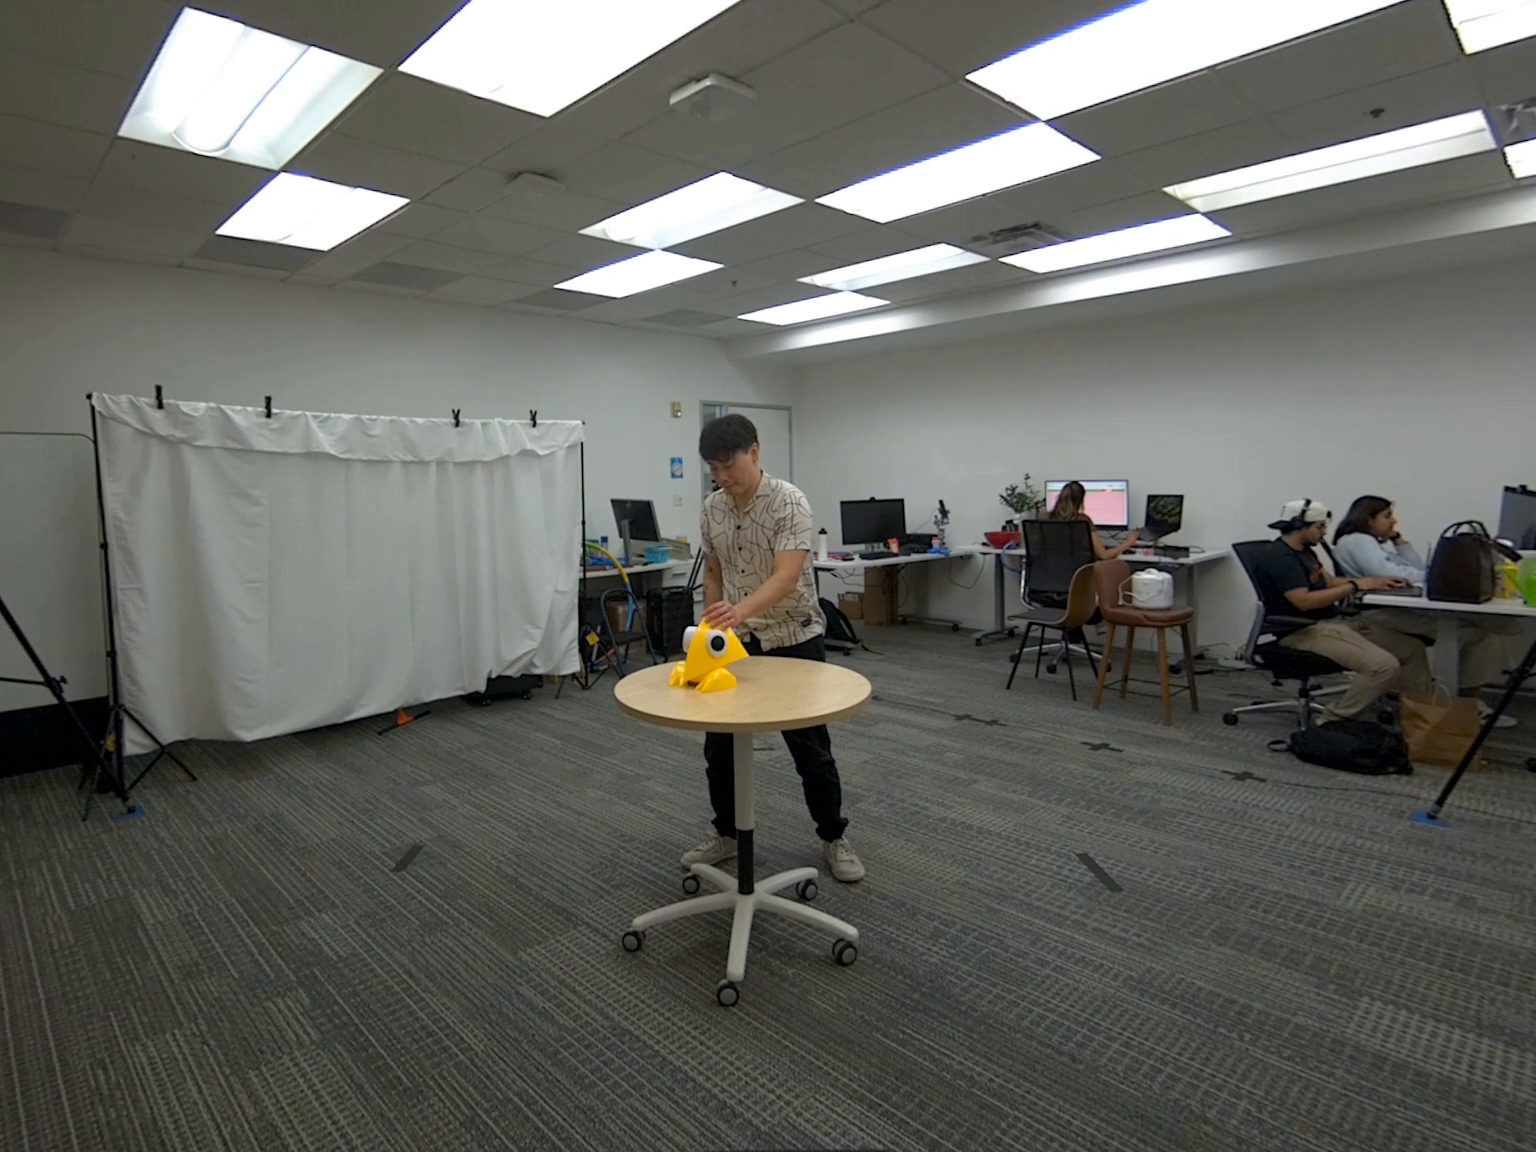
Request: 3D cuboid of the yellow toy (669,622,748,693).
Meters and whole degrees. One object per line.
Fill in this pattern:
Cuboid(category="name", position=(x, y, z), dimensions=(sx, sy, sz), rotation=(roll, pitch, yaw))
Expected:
Cuboid(category="yellow toy", position=(-0.194, 0.216, 2.587), dimensions=(0.211, 0.230, 0.188), rotation=(3, 7, 37))
